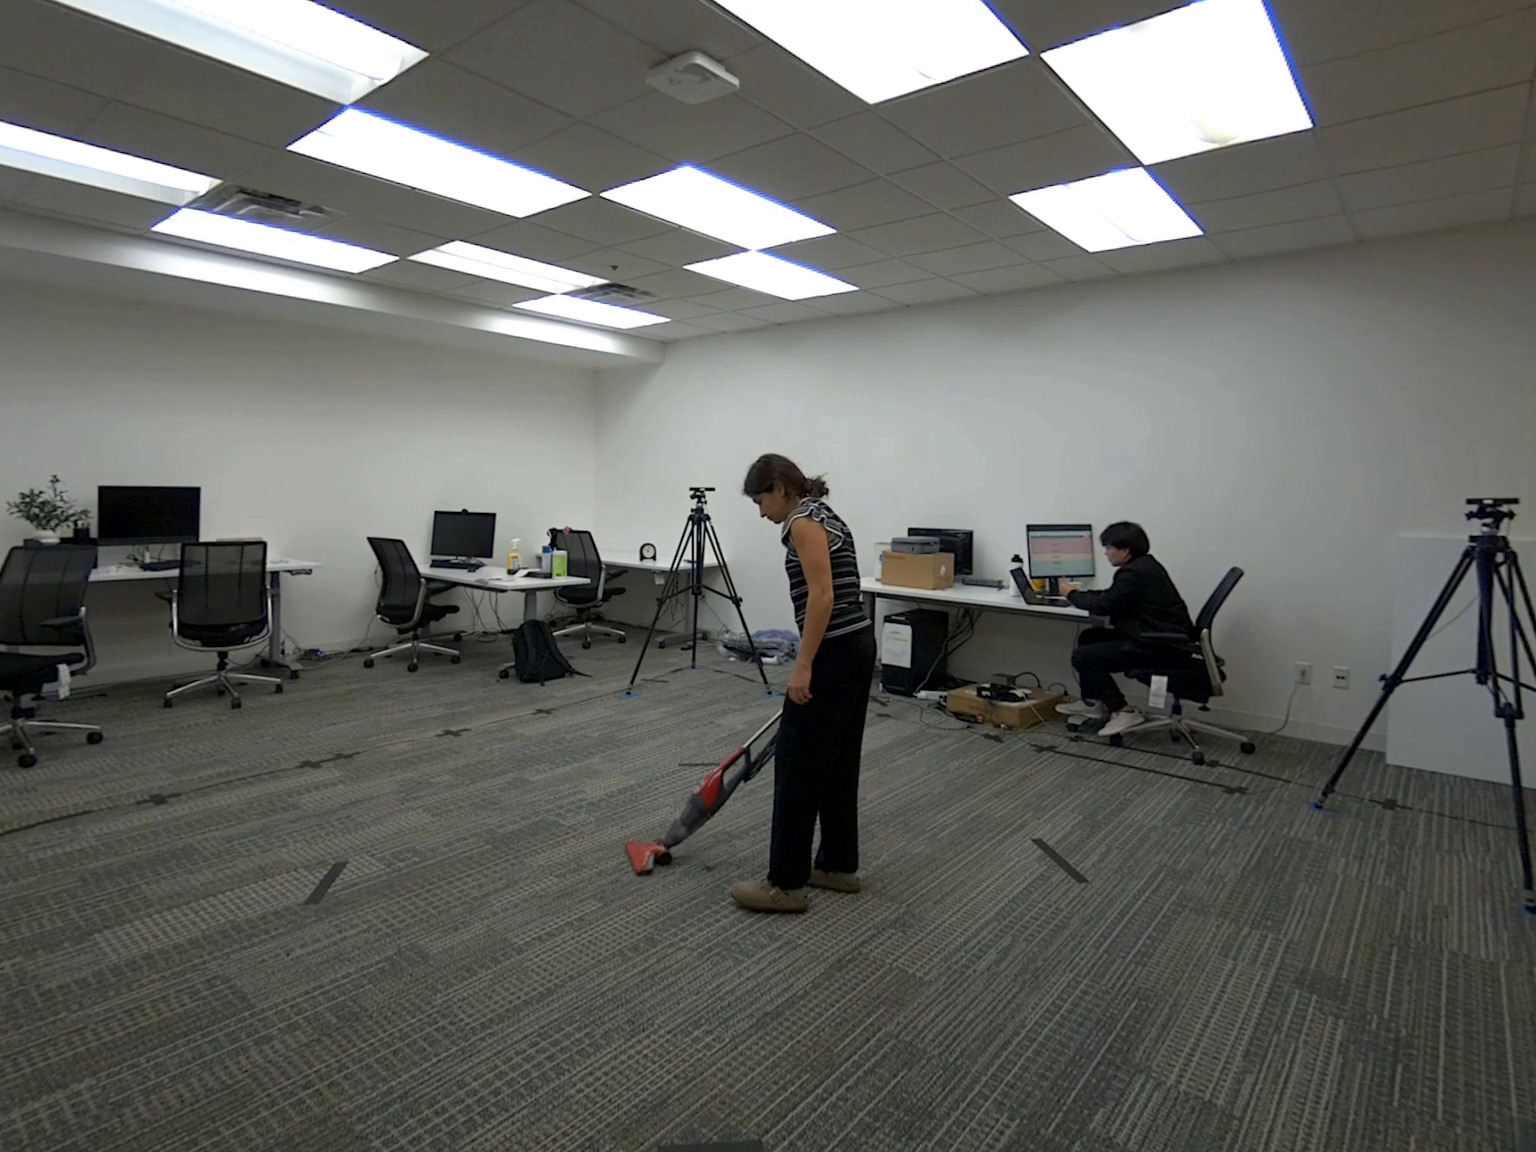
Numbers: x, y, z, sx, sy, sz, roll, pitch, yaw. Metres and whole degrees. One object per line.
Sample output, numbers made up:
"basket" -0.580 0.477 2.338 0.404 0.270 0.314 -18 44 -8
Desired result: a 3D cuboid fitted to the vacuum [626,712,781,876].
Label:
"vacuum" -0.093 0.699 3.269 1.047 0.141 0.258 -42 16 -12
